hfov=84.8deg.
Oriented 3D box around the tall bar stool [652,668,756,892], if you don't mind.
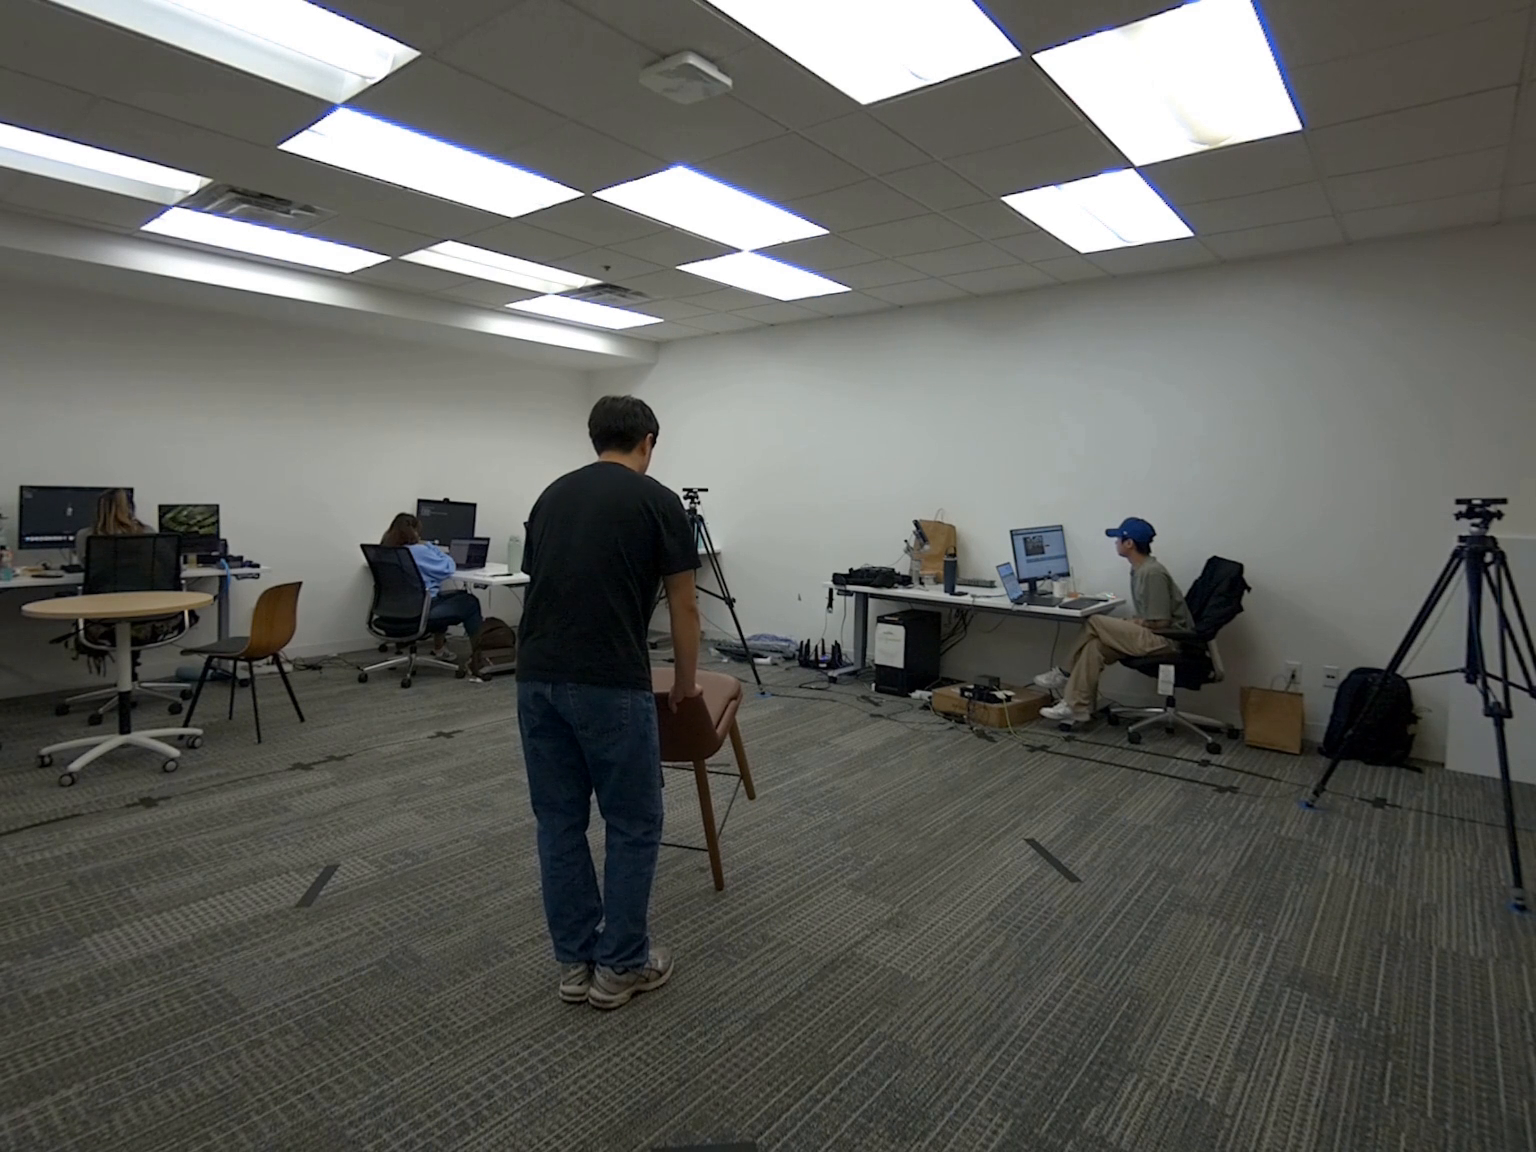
[{"bbox_3d":[-0.338,0.600,2.975,0.465,0.865,0.472,3,32,16],"label":"tall bar stool"}]
